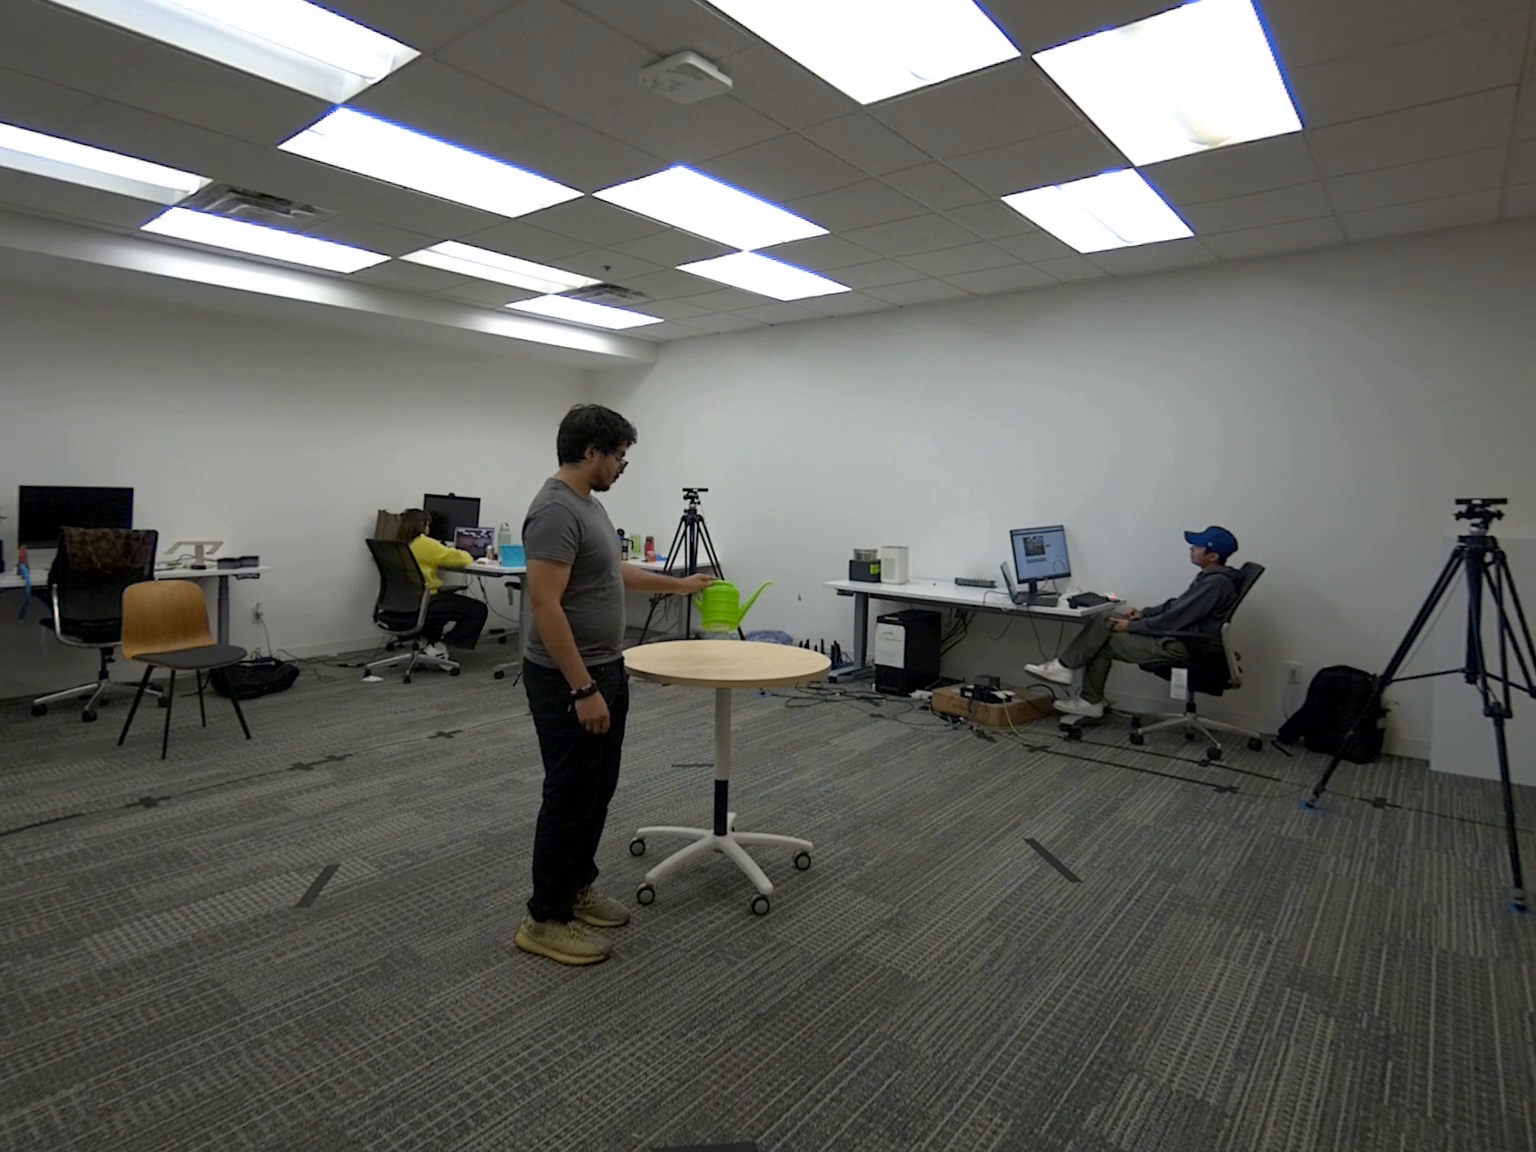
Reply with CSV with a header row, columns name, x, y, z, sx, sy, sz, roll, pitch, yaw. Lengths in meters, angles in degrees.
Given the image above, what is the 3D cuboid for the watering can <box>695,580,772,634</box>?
name,x,y,z,sx,sy,sz,roll,pitch,yaw
watering can,-0.129,0.093,2.937,0.282,0.181,0.094,-7,-29,14
